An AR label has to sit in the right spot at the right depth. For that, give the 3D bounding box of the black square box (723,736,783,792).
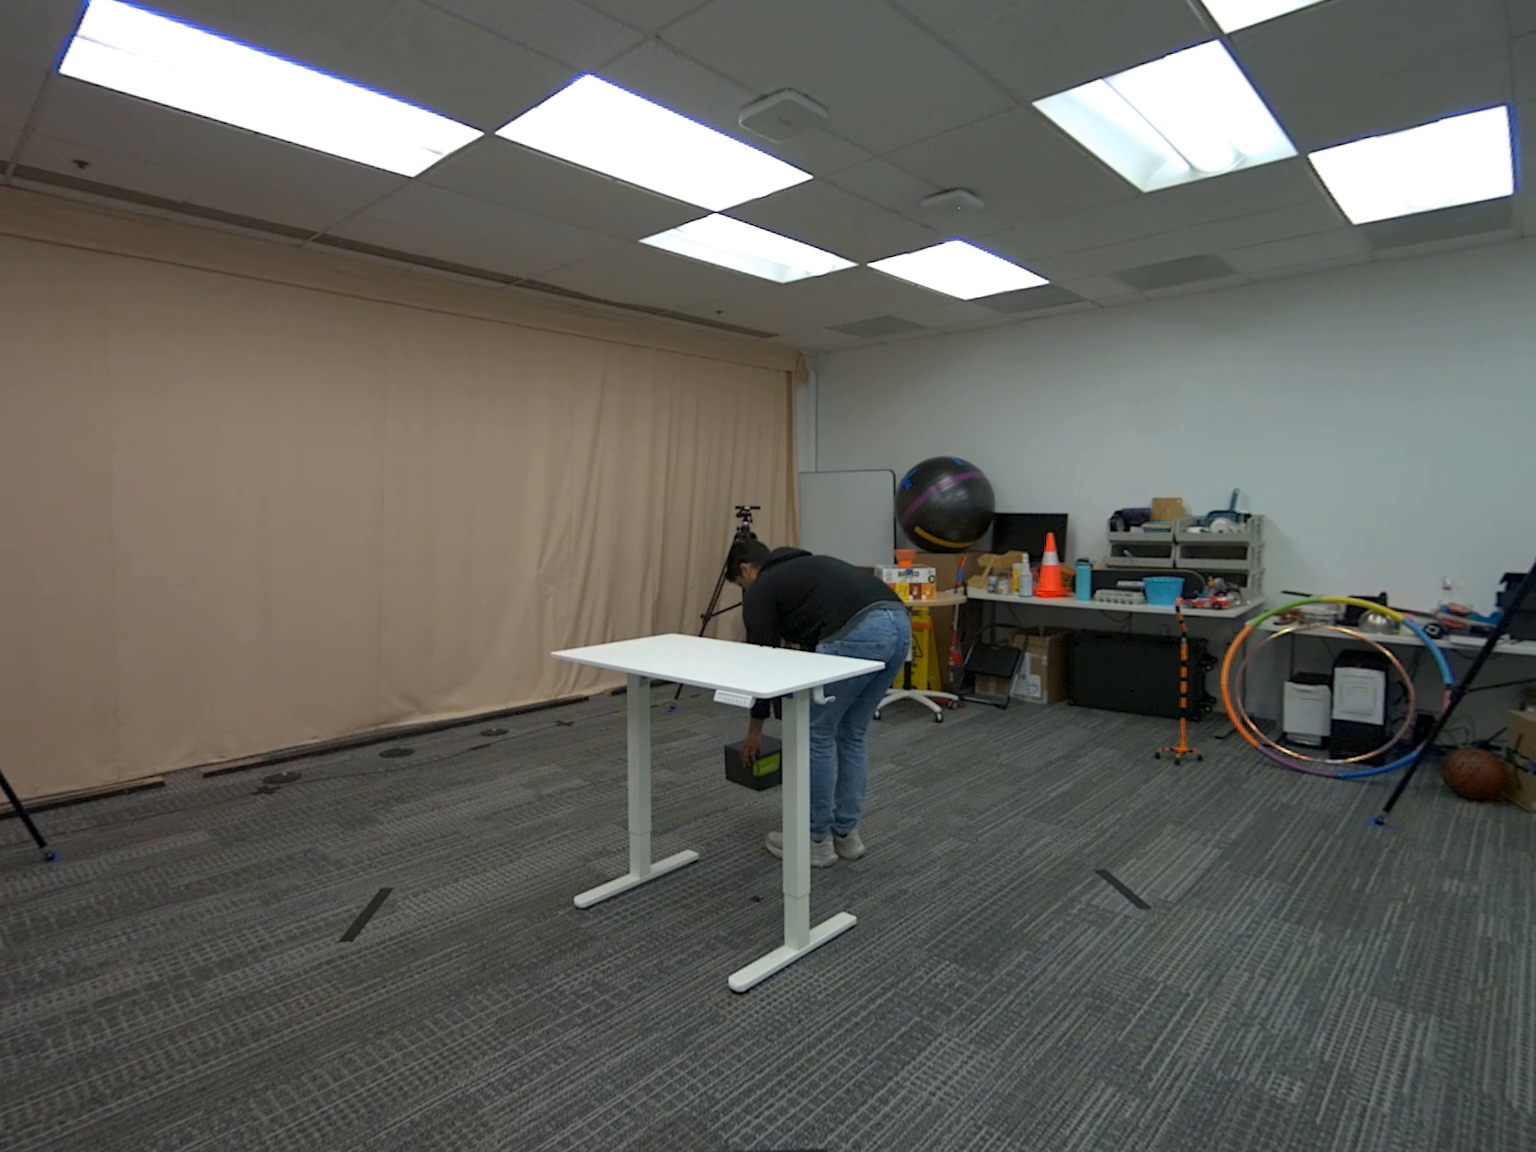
[{"bbox_3d":[-0.034,0.797,3.663,0.221,0.155,0.224,-7,7,-42],"label":"black square box"}]
